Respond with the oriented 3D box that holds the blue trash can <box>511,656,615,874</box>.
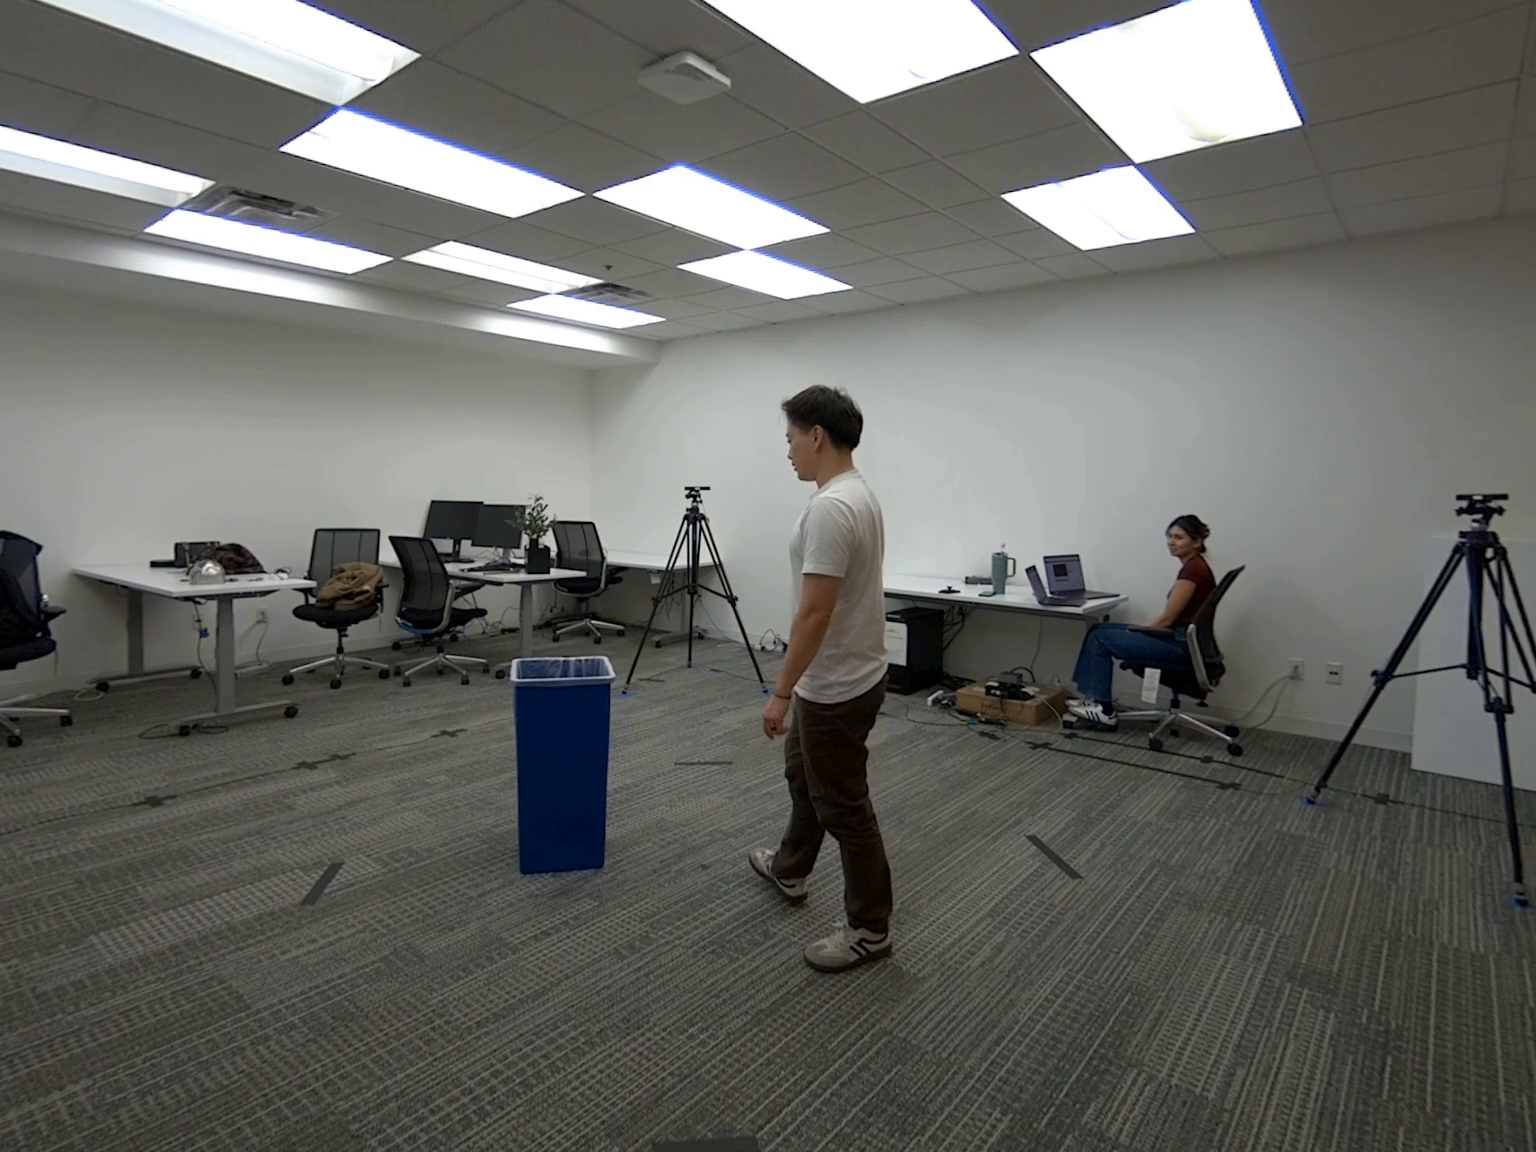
[{"bbox_3d":[-0.795,0.694,3.186,0.369,0.711,0.385,0,3,-14],"label":"blue trash can"}]
